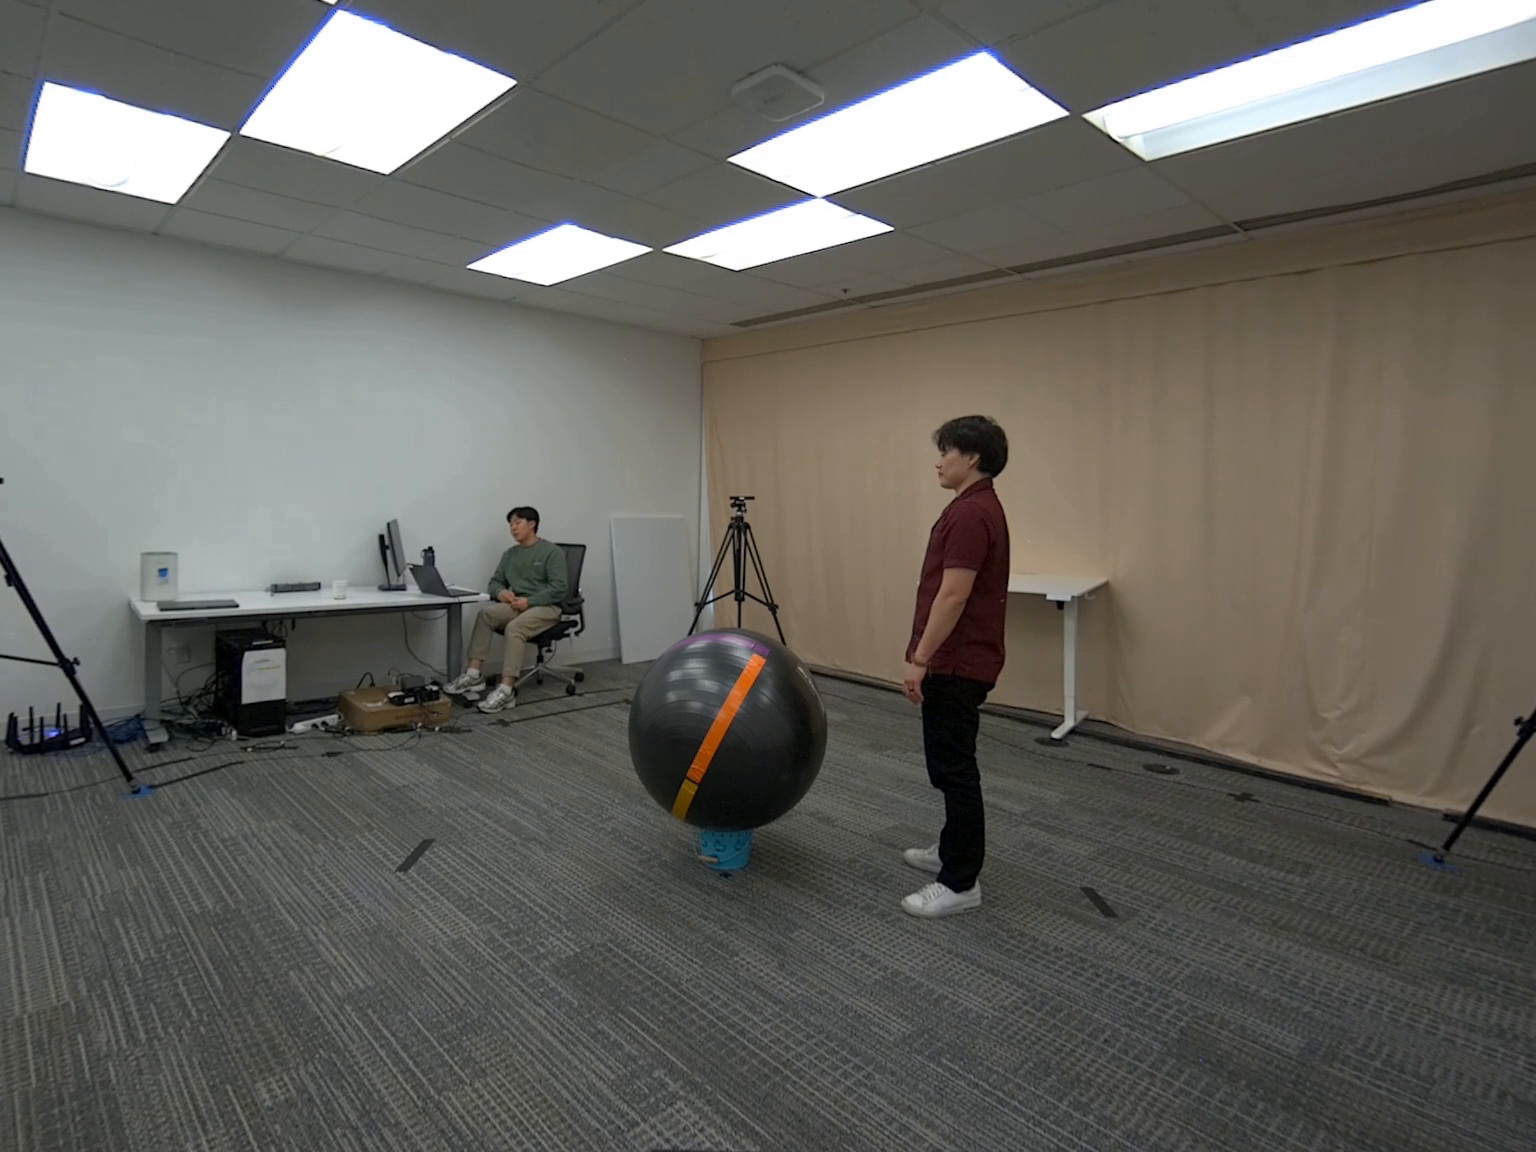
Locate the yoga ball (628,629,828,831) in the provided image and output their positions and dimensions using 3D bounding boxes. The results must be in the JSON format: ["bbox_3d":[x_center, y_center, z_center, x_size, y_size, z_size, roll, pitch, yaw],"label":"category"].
[{"bbox_3d":[-0.159,0.578,3.212,0.757,0.756,0.761,1,4,-1],"label":"yoga ball"}]
